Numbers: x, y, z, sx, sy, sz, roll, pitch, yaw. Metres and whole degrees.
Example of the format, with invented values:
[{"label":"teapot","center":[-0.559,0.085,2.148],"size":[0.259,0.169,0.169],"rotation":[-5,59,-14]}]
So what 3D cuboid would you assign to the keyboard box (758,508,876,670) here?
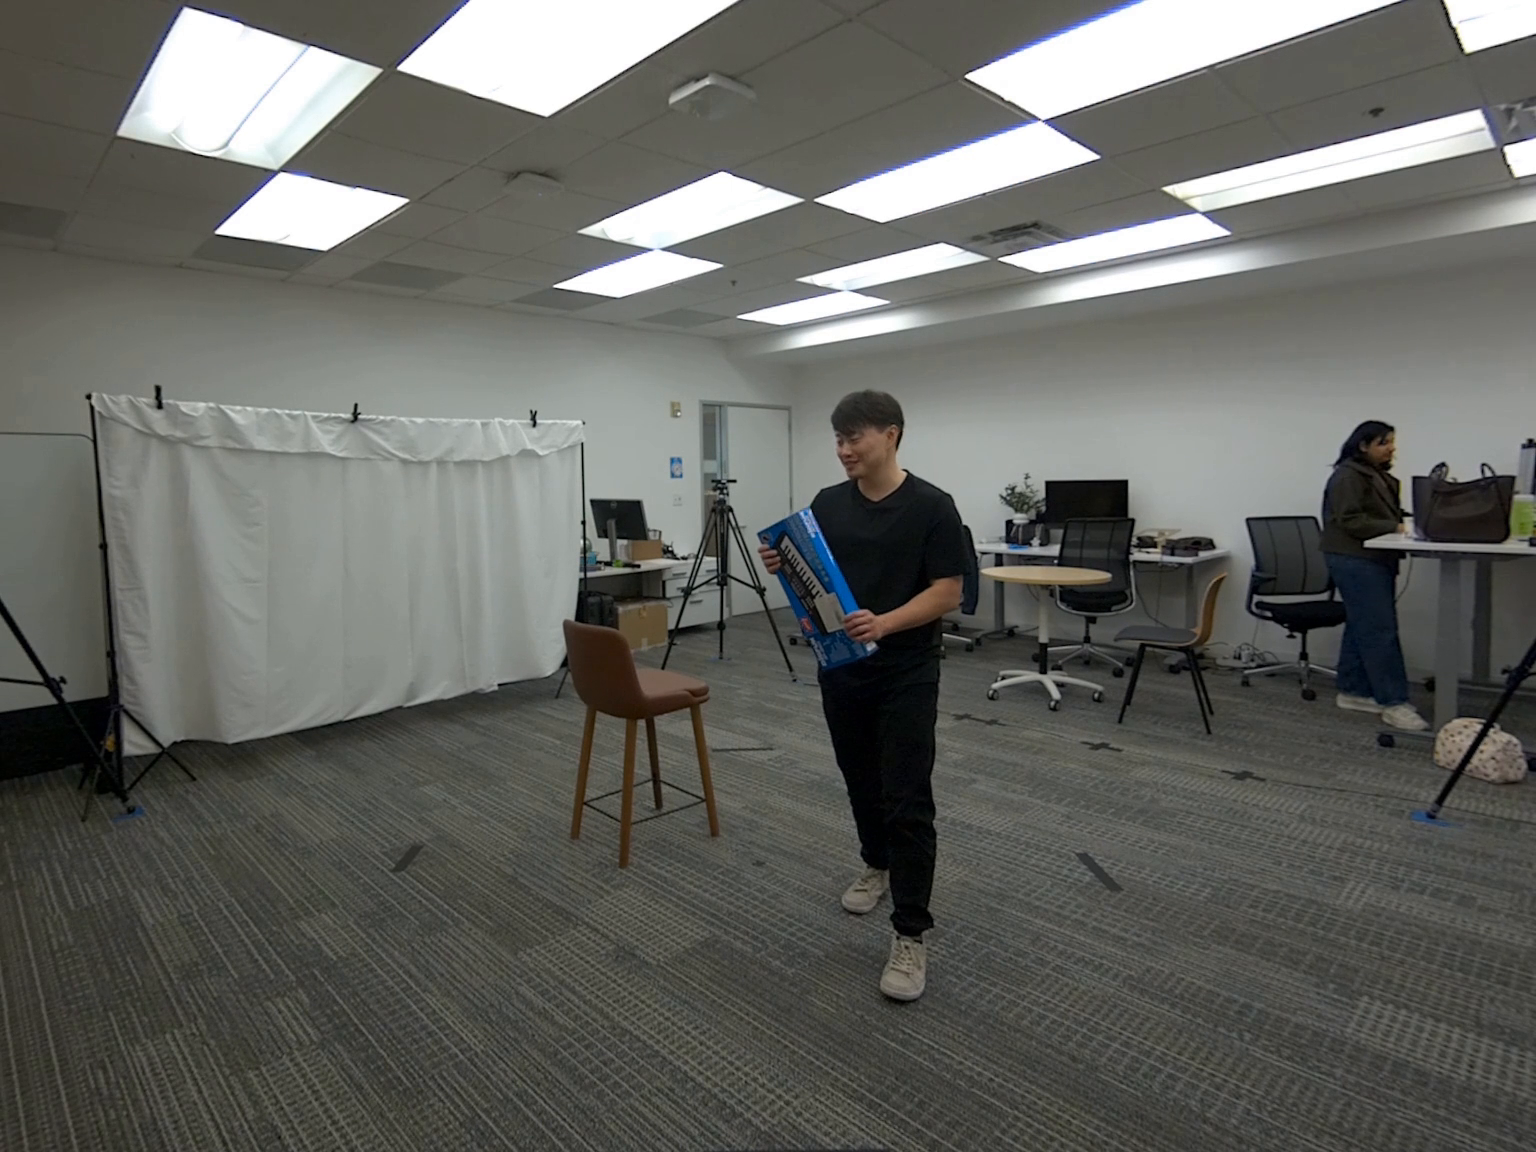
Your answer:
[{"label":"keyboard box","center":[0.150,0.037,2.393],"size":[0.178,0.438,0.058],"rotation":[-27,-4,42]}]
